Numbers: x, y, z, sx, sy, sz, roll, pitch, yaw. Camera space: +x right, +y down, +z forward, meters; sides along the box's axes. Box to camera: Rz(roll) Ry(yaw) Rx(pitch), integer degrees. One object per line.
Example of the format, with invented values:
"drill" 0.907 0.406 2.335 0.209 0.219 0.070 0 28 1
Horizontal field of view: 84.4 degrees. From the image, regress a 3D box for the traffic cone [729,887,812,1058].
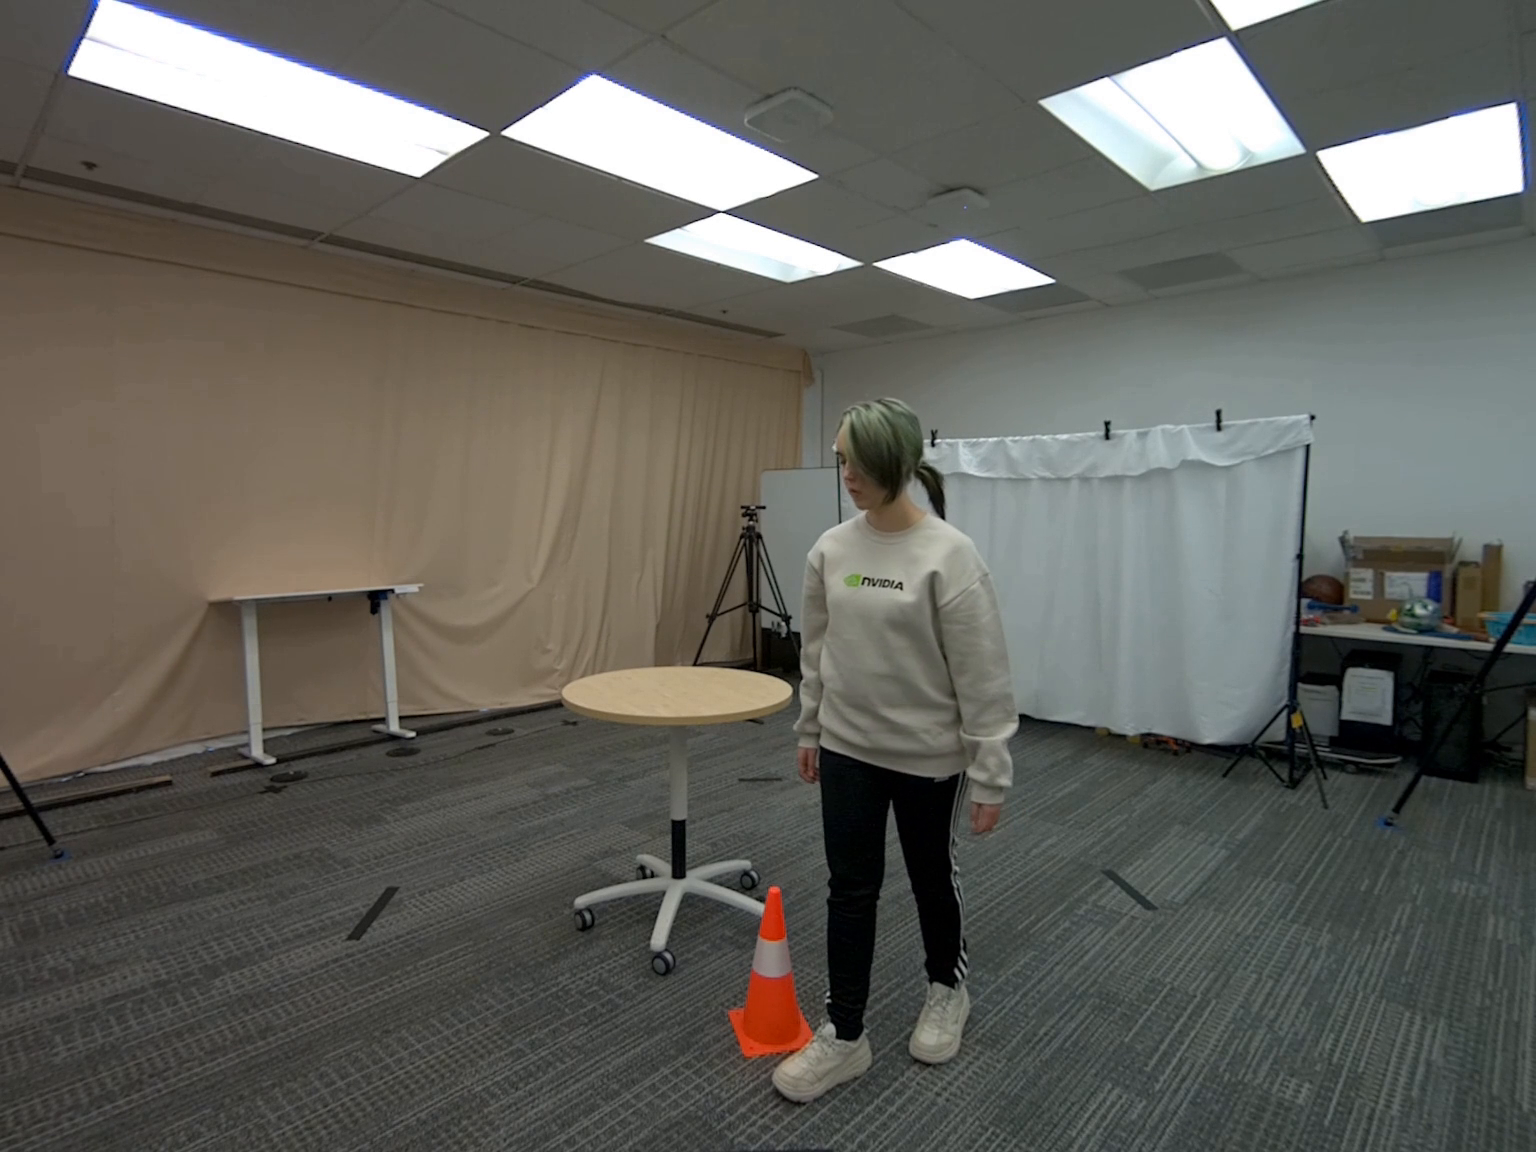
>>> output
"traffic cone" 0.020 1.028 2.222 0.201 0.382 0.208 0 5 -12
